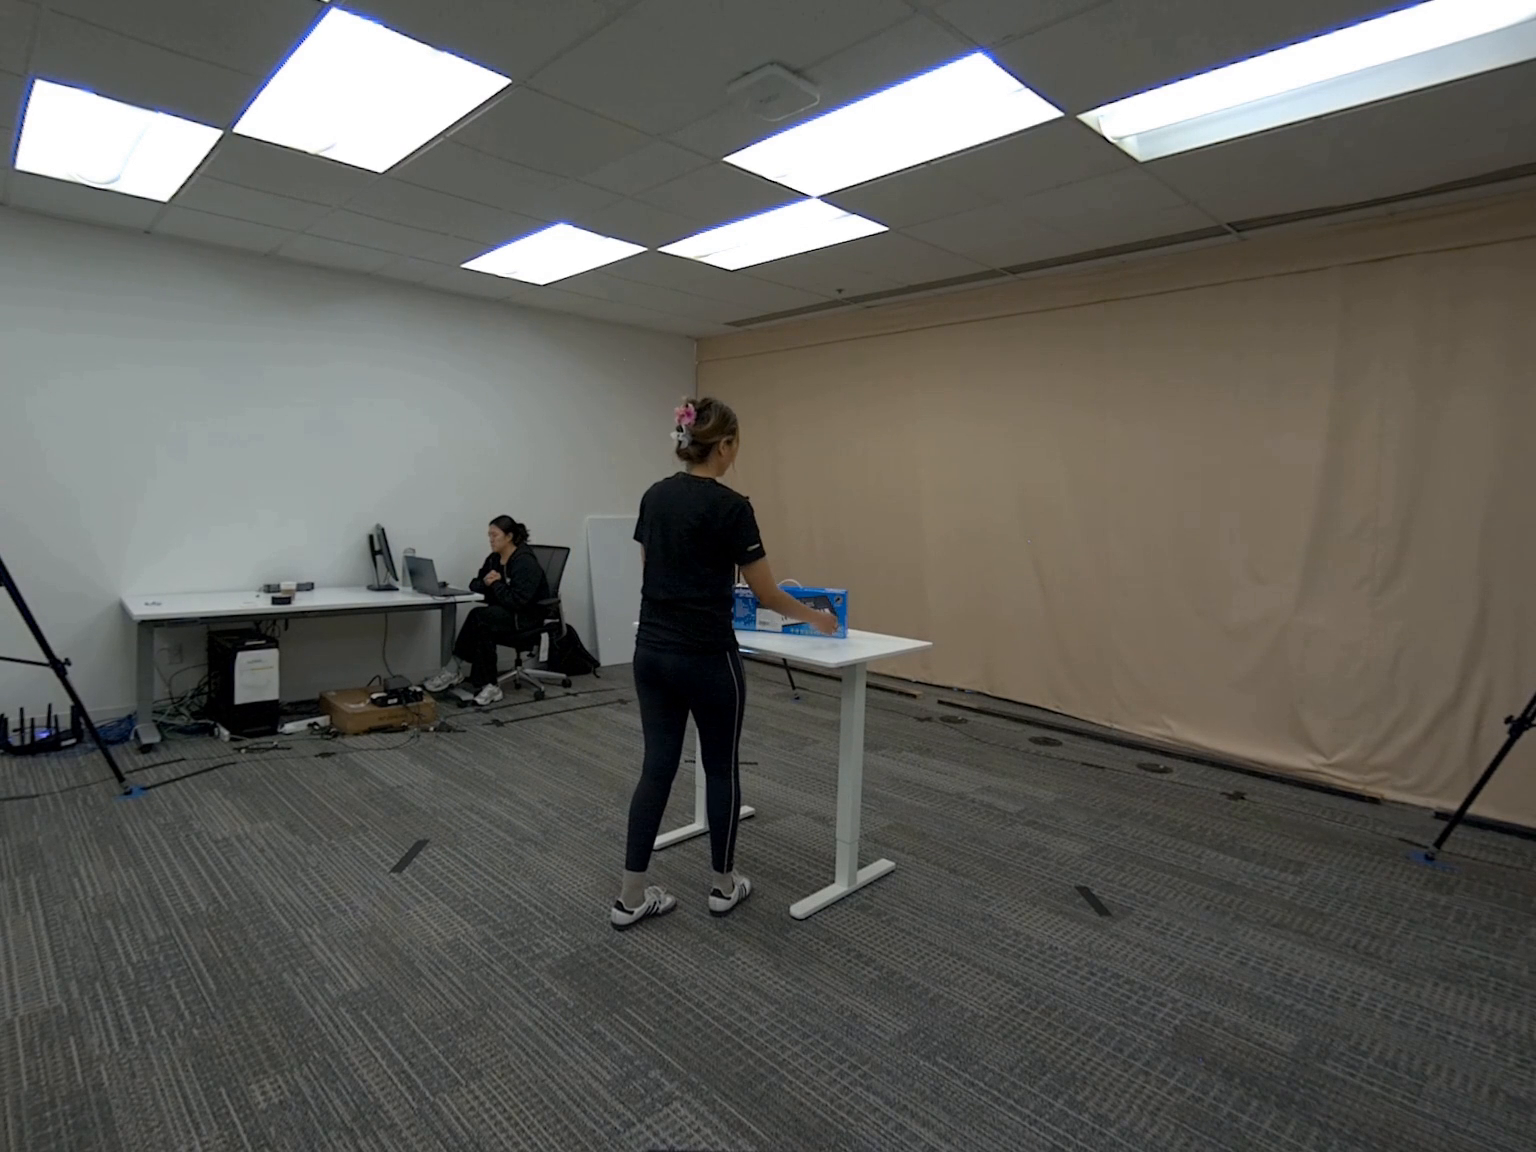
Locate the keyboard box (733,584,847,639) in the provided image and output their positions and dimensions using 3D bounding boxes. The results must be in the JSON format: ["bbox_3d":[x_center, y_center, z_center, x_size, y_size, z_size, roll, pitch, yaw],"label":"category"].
[{"bbox_3d":[0.077,0.131,3.181,0.443,0.174,0.058,4,11,19],"label":"keyboard box"}]
